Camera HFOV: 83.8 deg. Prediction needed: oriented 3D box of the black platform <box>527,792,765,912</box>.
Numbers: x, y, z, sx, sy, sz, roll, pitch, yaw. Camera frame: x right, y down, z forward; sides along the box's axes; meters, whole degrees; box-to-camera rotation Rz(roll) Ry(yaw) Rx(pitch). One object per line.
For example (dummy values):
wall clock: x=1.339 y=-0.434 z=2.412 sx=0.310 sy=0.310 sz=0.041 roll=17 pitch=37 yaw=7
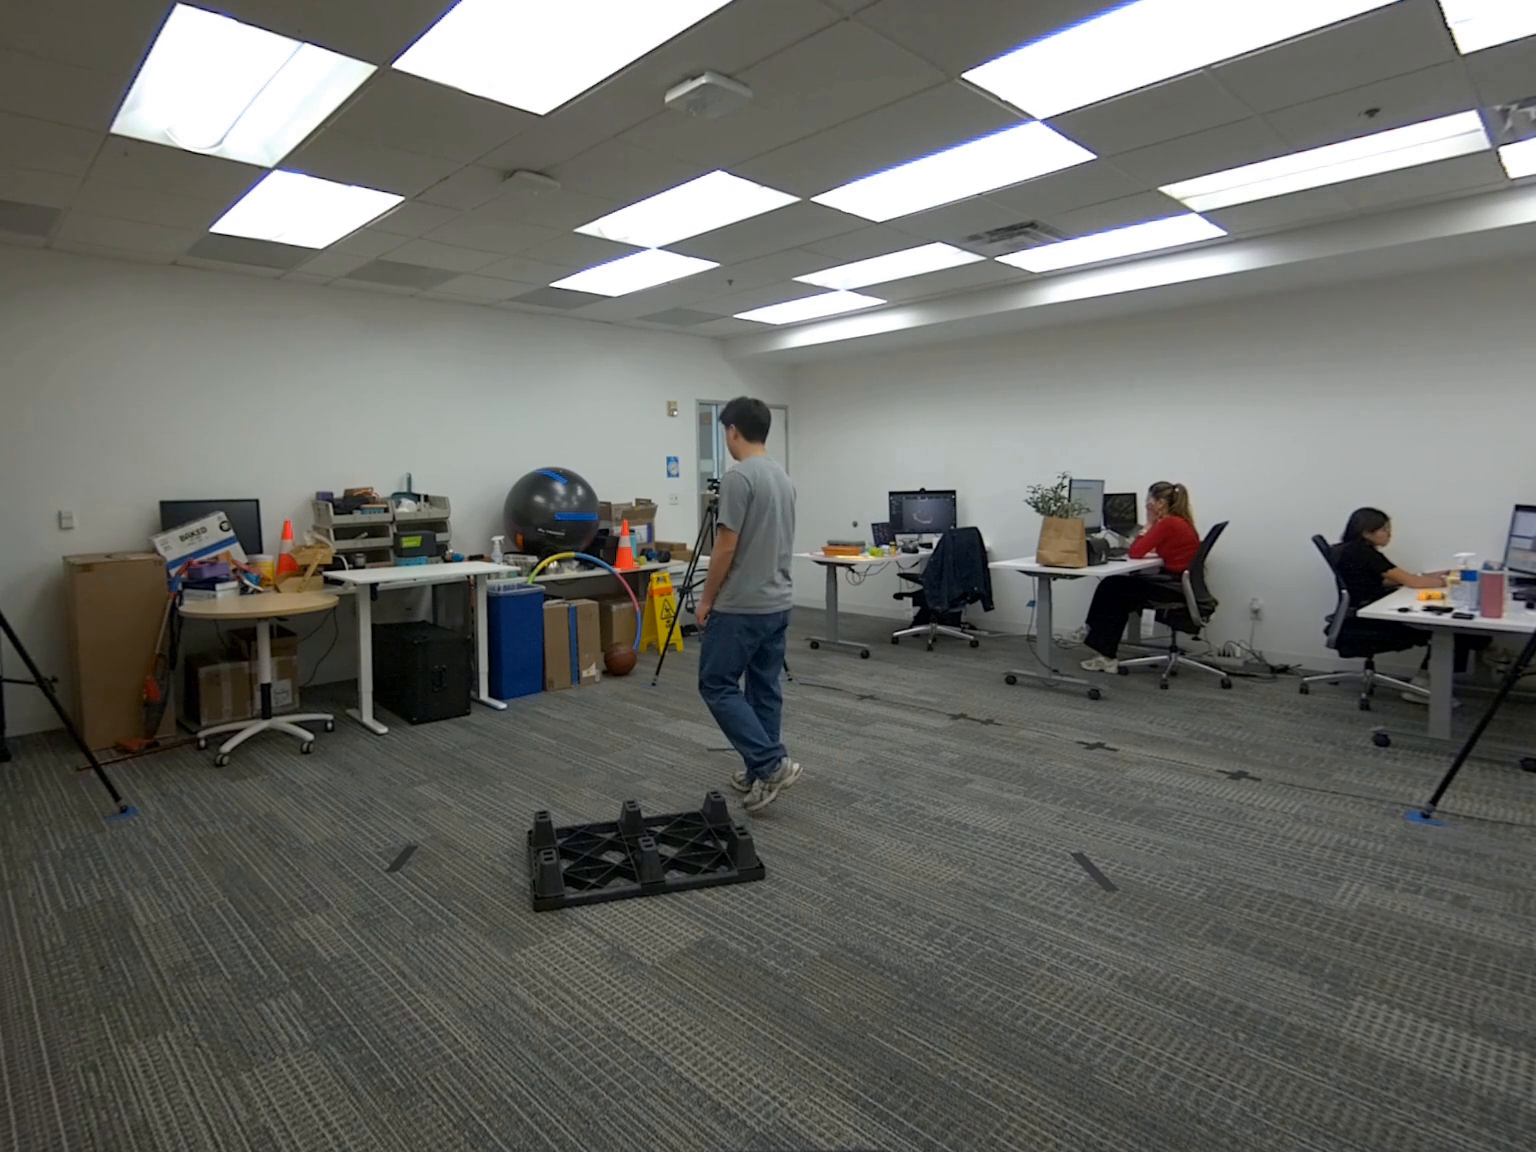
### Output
black platform: x=-0.472 y=0.978 z=3.155 sx=0.794 sy=0.143 sz=0.617 roll=-3 pitch=6 yaw=-16
